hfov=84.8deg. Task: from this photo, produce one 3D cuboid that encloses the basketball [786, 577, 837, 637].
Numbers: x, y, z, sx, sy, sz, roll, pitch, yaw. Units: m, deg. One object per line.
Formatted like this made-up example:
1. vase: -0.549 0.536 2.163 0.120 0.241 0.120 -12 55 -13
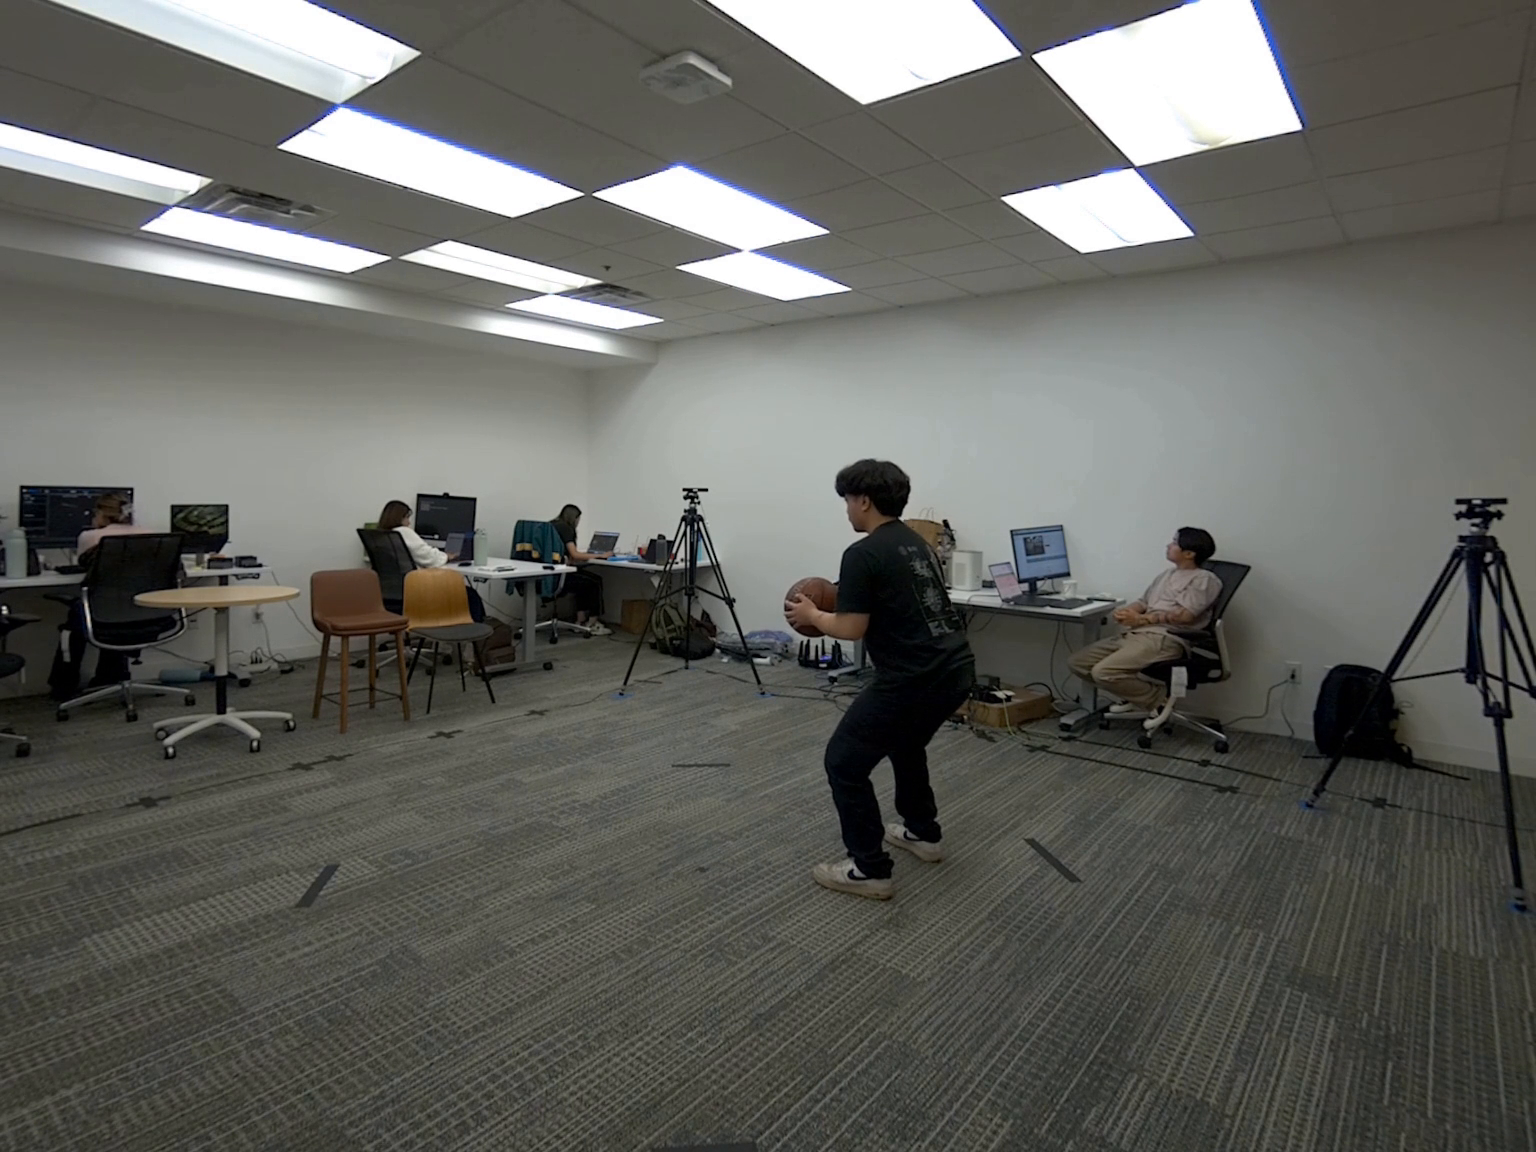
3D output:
1. basketball: 0.174 0.119 3.365 0.235 0.235 0.237 1 4 -2
